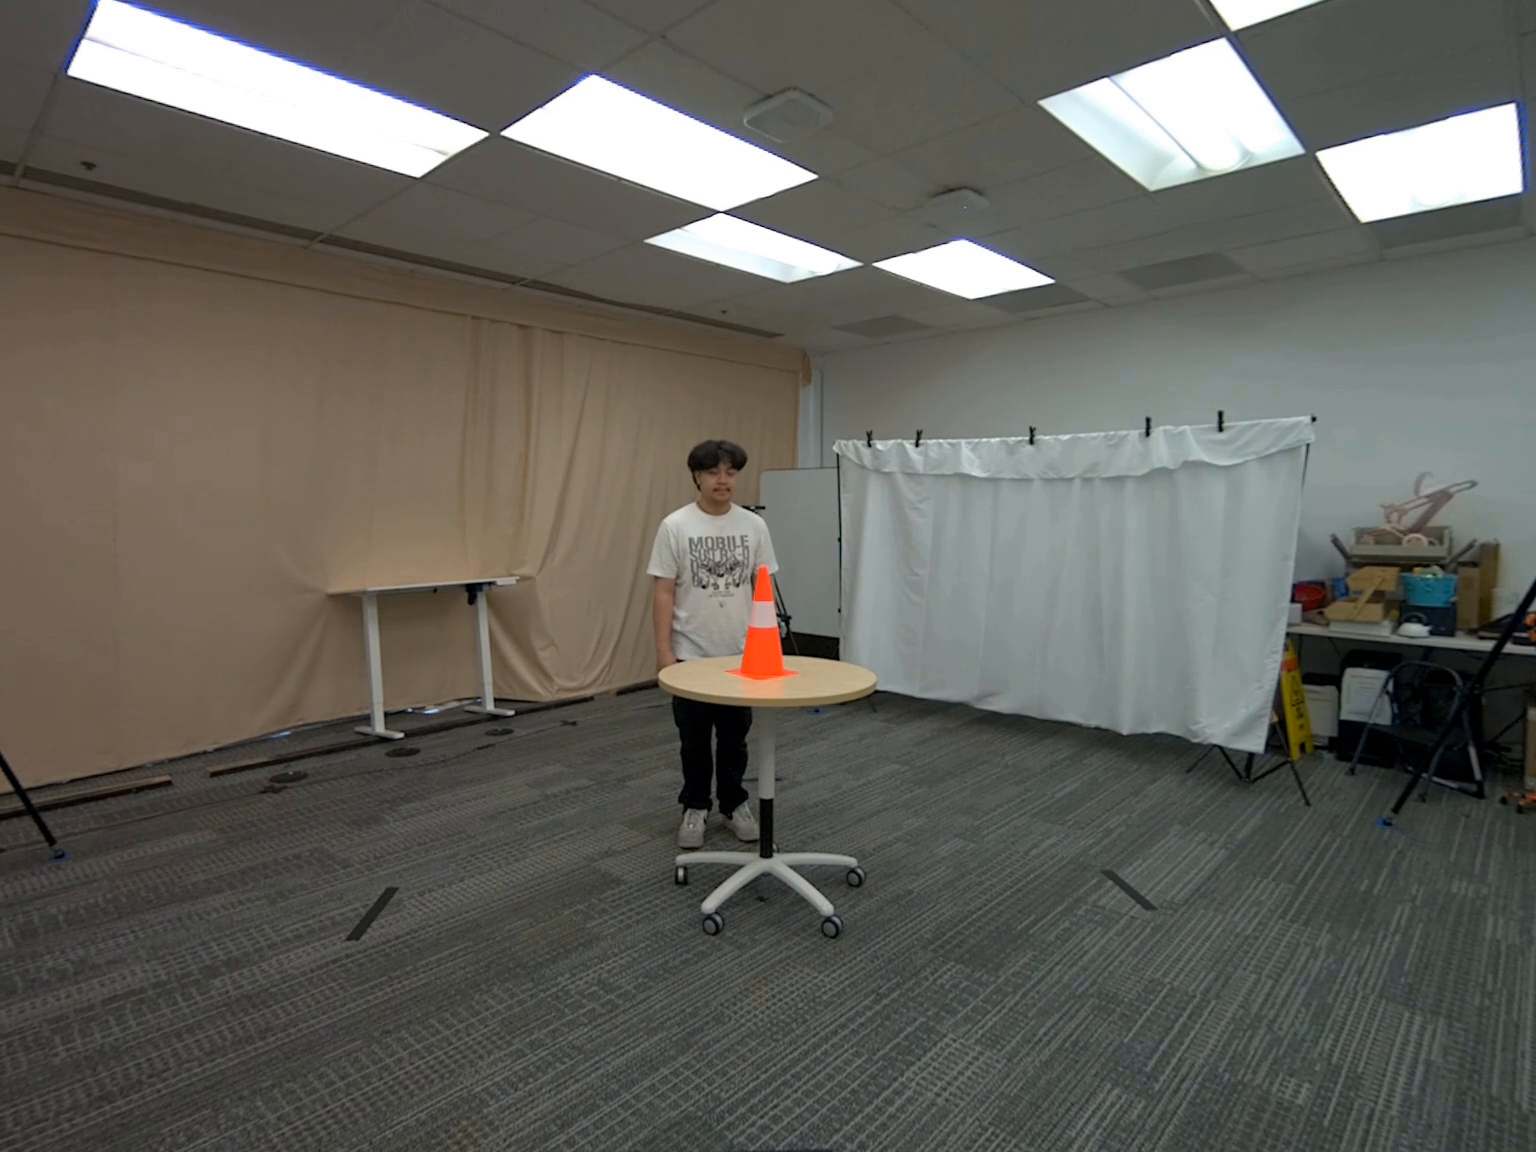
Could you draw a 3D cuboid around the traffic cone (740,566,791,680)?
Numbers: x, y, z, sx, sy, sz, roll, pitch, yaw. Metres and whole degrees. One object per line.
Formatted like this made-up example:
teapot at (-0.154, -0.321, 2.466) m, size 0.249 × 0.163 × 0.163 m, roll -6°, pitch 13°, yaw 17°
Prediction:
traffic cone at (-0.018, 0.157, 3.010) m, size 0.211 × 0.383 × 0.197 m, roll 2°, pitch 3°, yaw 35°
